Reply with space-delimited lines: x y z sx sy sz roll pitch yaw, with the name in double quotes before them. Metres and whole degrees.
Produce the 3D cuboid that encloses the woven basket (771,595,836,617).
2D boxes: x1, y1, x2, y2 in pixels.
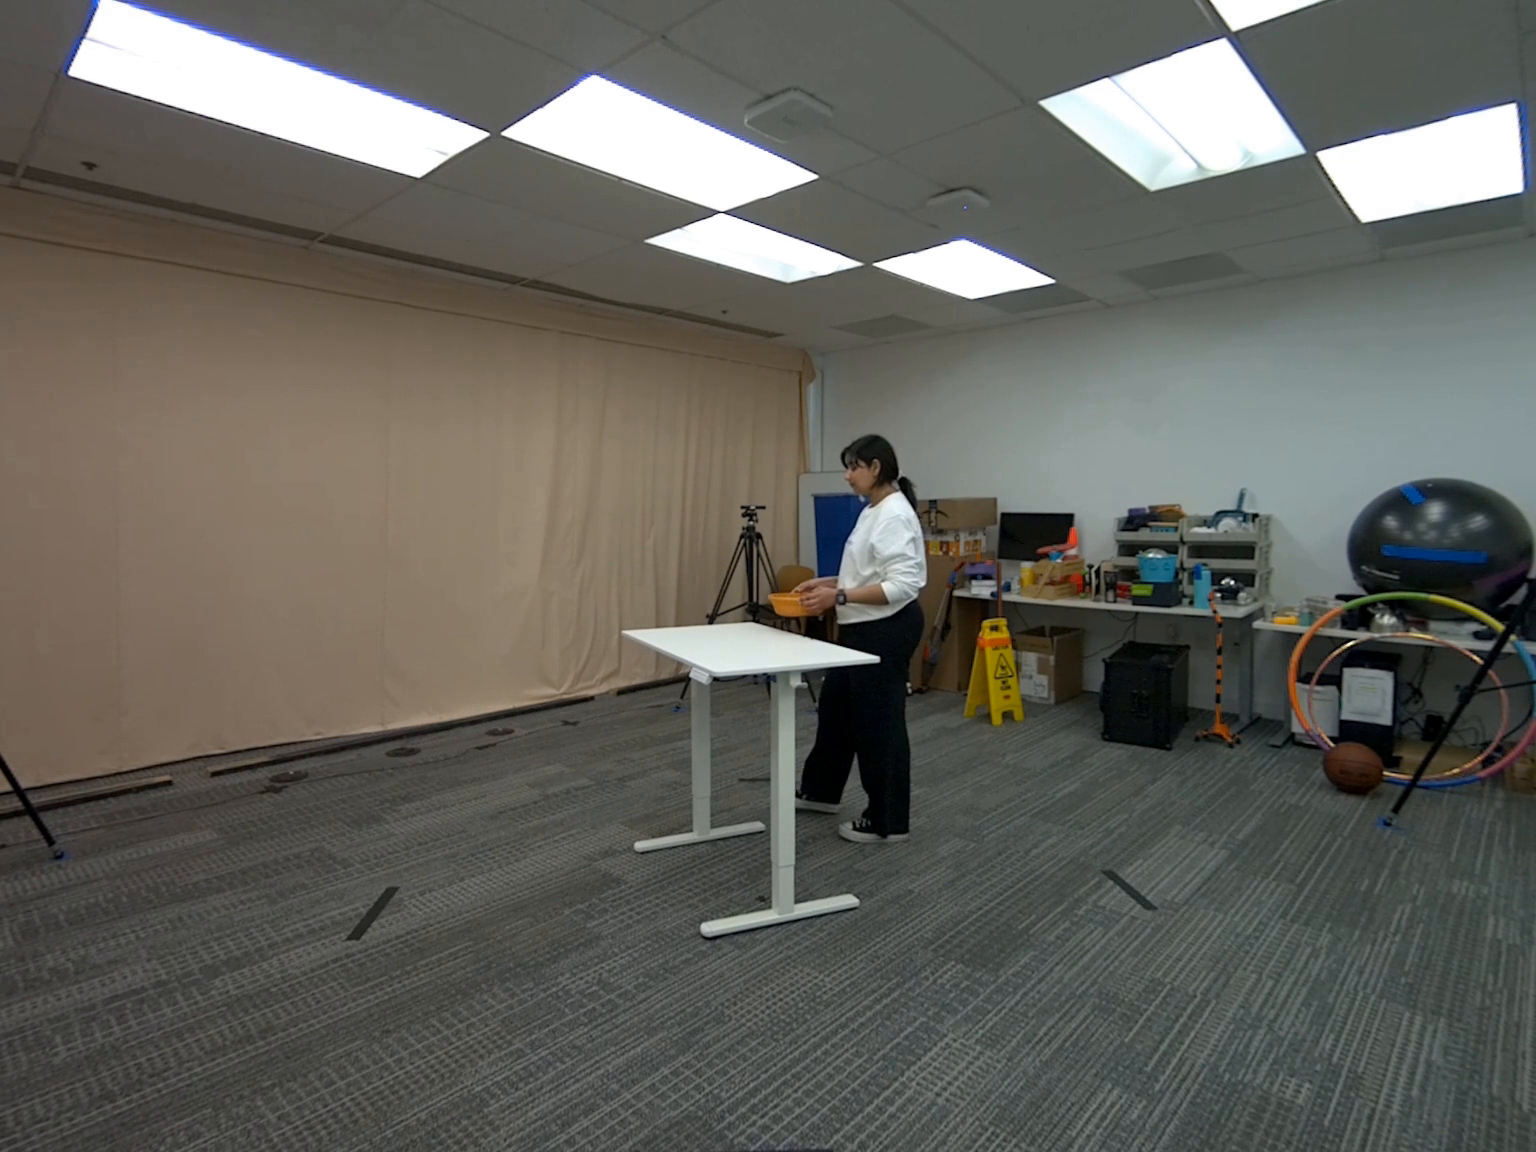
"woven basket" 0.168 0.120 3.491 0.250 0.073 0.353 1 0 -8
